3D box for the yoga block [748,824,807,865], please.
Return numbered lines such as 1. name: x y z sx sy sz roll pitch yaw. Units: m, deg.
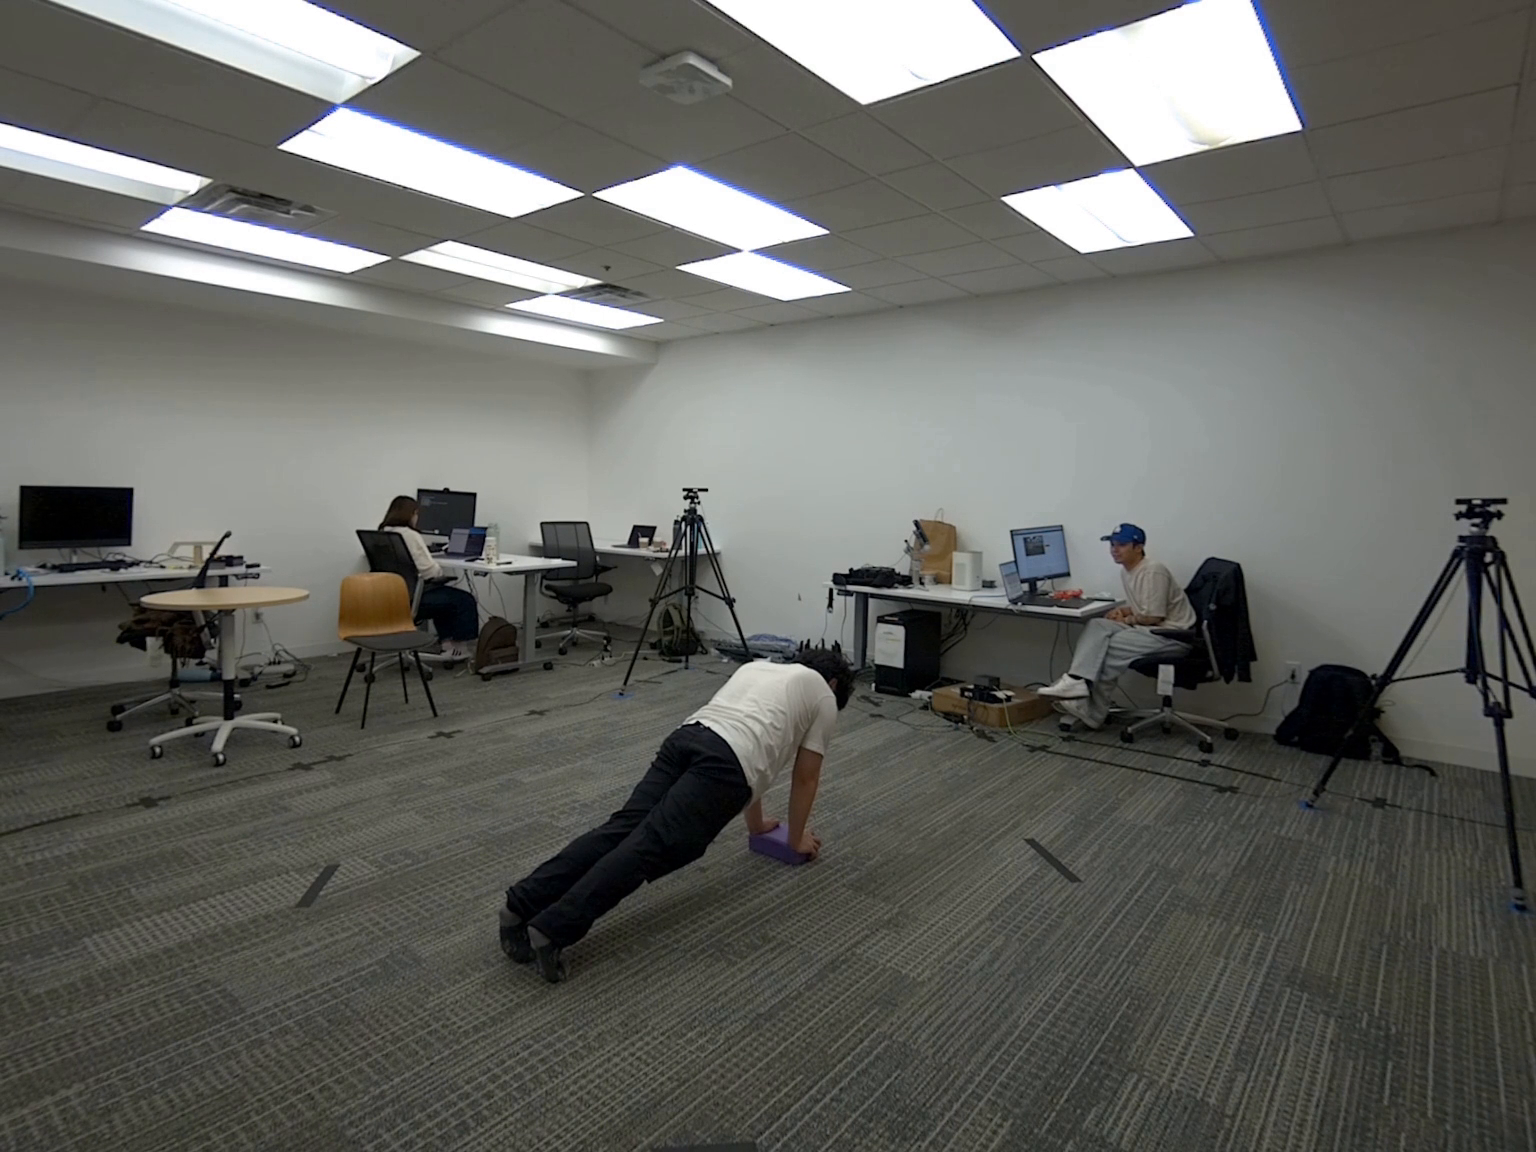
1. yoga block: 0.048 1.026 3.276 0.237 0.076 0.145 5 7 38
